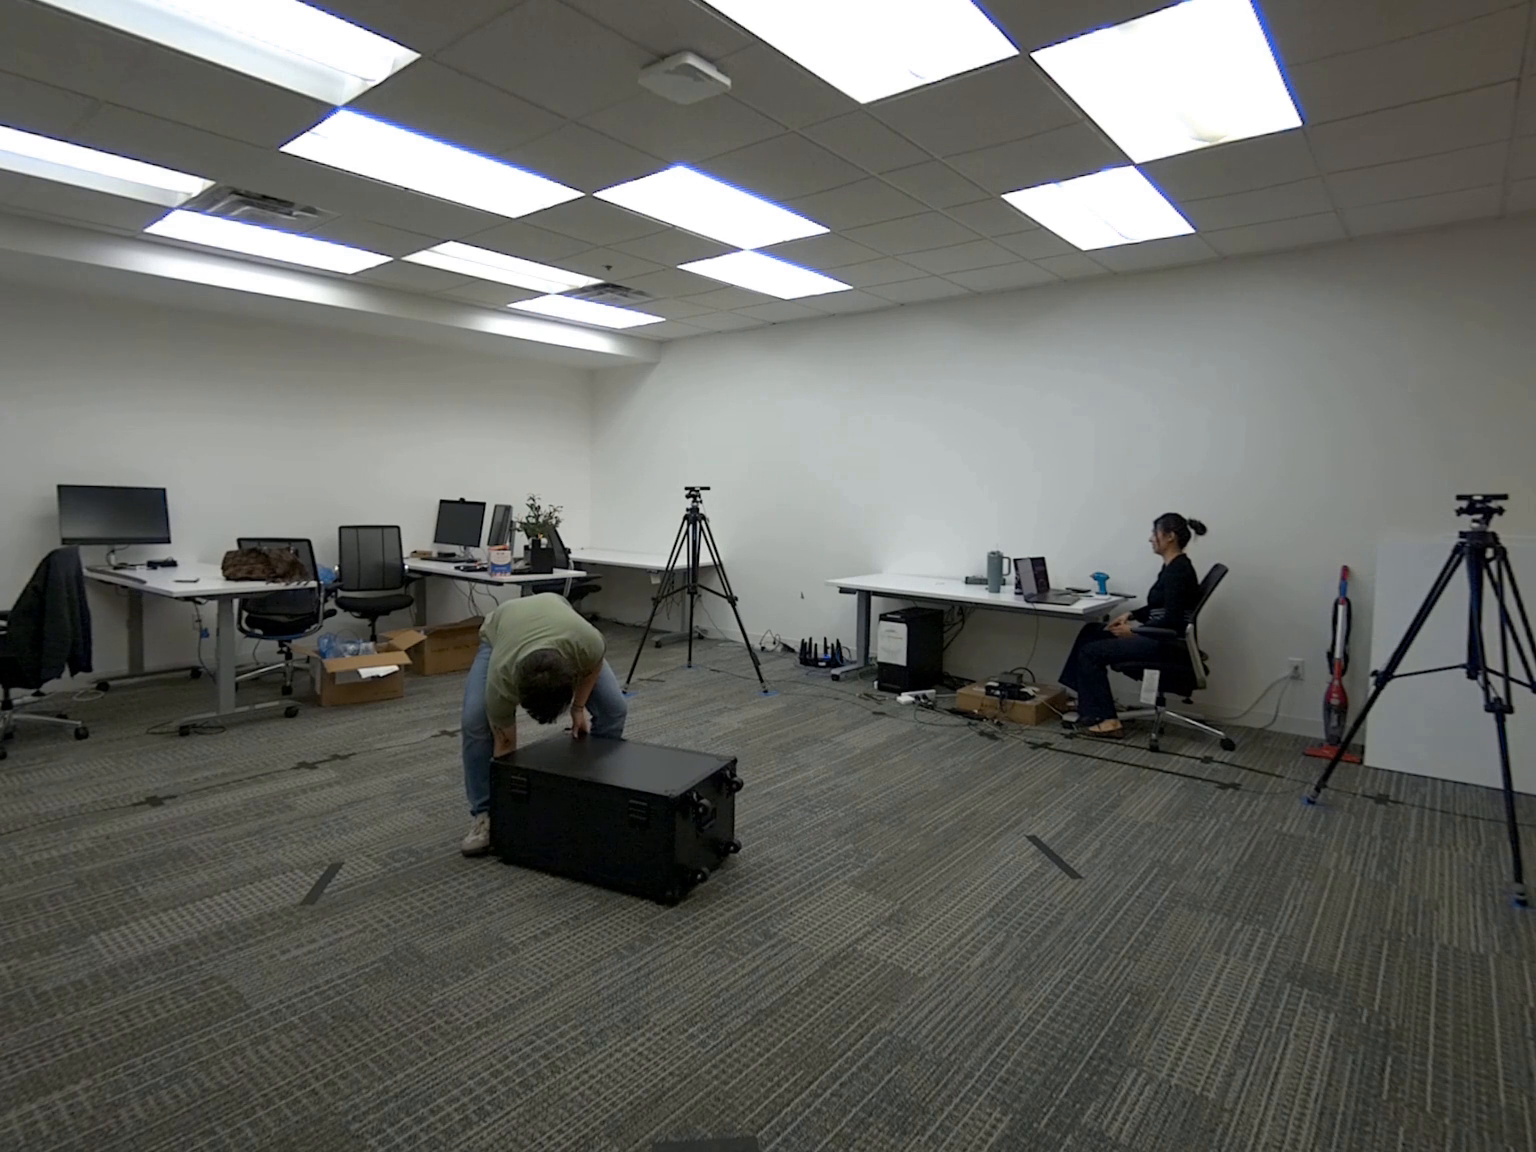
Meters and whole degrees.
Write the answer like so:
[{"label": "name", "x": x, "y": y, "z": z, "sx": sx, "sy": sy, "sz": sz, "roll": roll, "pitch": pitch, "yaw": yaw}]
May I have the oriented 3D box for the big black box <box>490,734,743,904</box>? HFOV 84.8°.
[{"label": "big black box", "x": -0.550, "y": 0.866, "z": 3.145, "sx": 0.883, "sy": 0.395, "sz": 0.510, "roll": 2, "pitch": 4, "yaw": 24}]
